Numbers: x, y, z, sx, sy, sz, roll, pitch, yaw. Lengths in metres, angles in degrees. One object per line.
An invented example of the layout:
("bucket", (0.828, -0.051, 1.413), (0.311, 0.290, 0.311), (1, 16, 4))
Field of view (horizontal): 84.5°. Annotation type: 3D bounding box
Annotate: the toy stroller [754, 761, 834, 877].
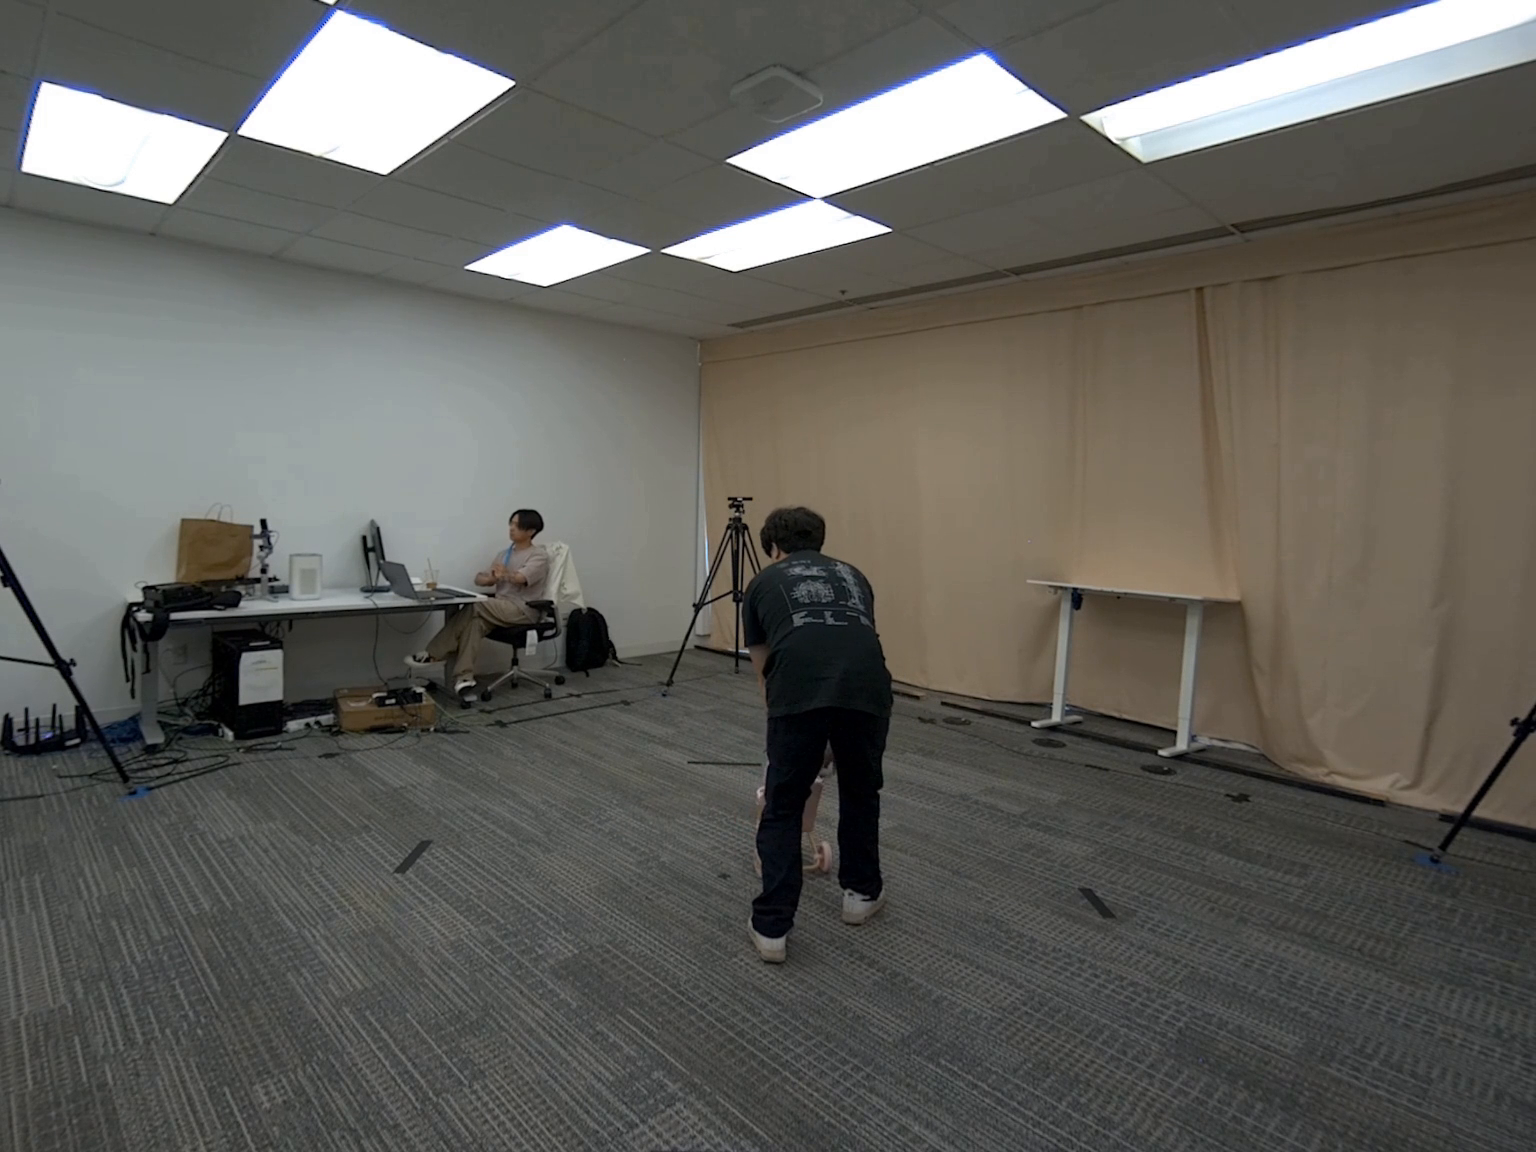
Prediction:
("toy stroller", (0.076, 0.880, 3.186), (0.279, 0.529, 0.348), (1, 18, -11))
